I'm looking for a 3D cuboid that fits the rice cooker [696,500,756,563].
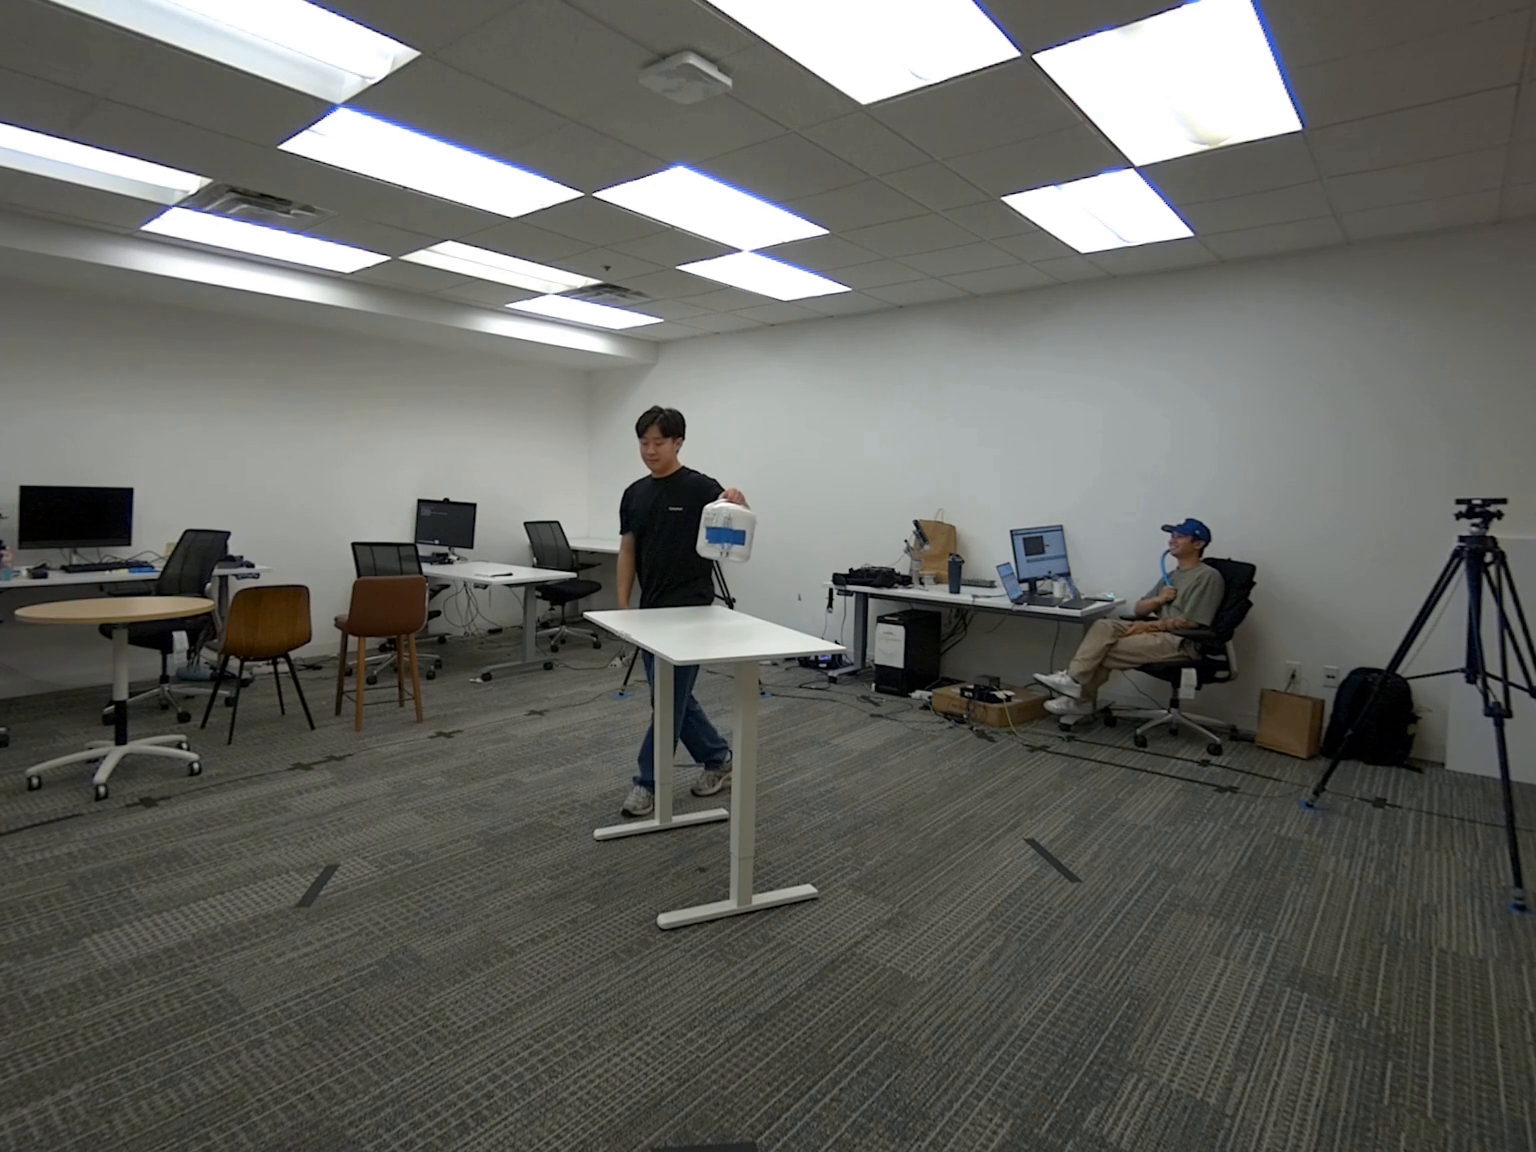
[{"bbox_3d":[-0.166,-0.177,3.232,0.225,0.234,0.212,6,-8,43],"label":"rice cooker"}]
